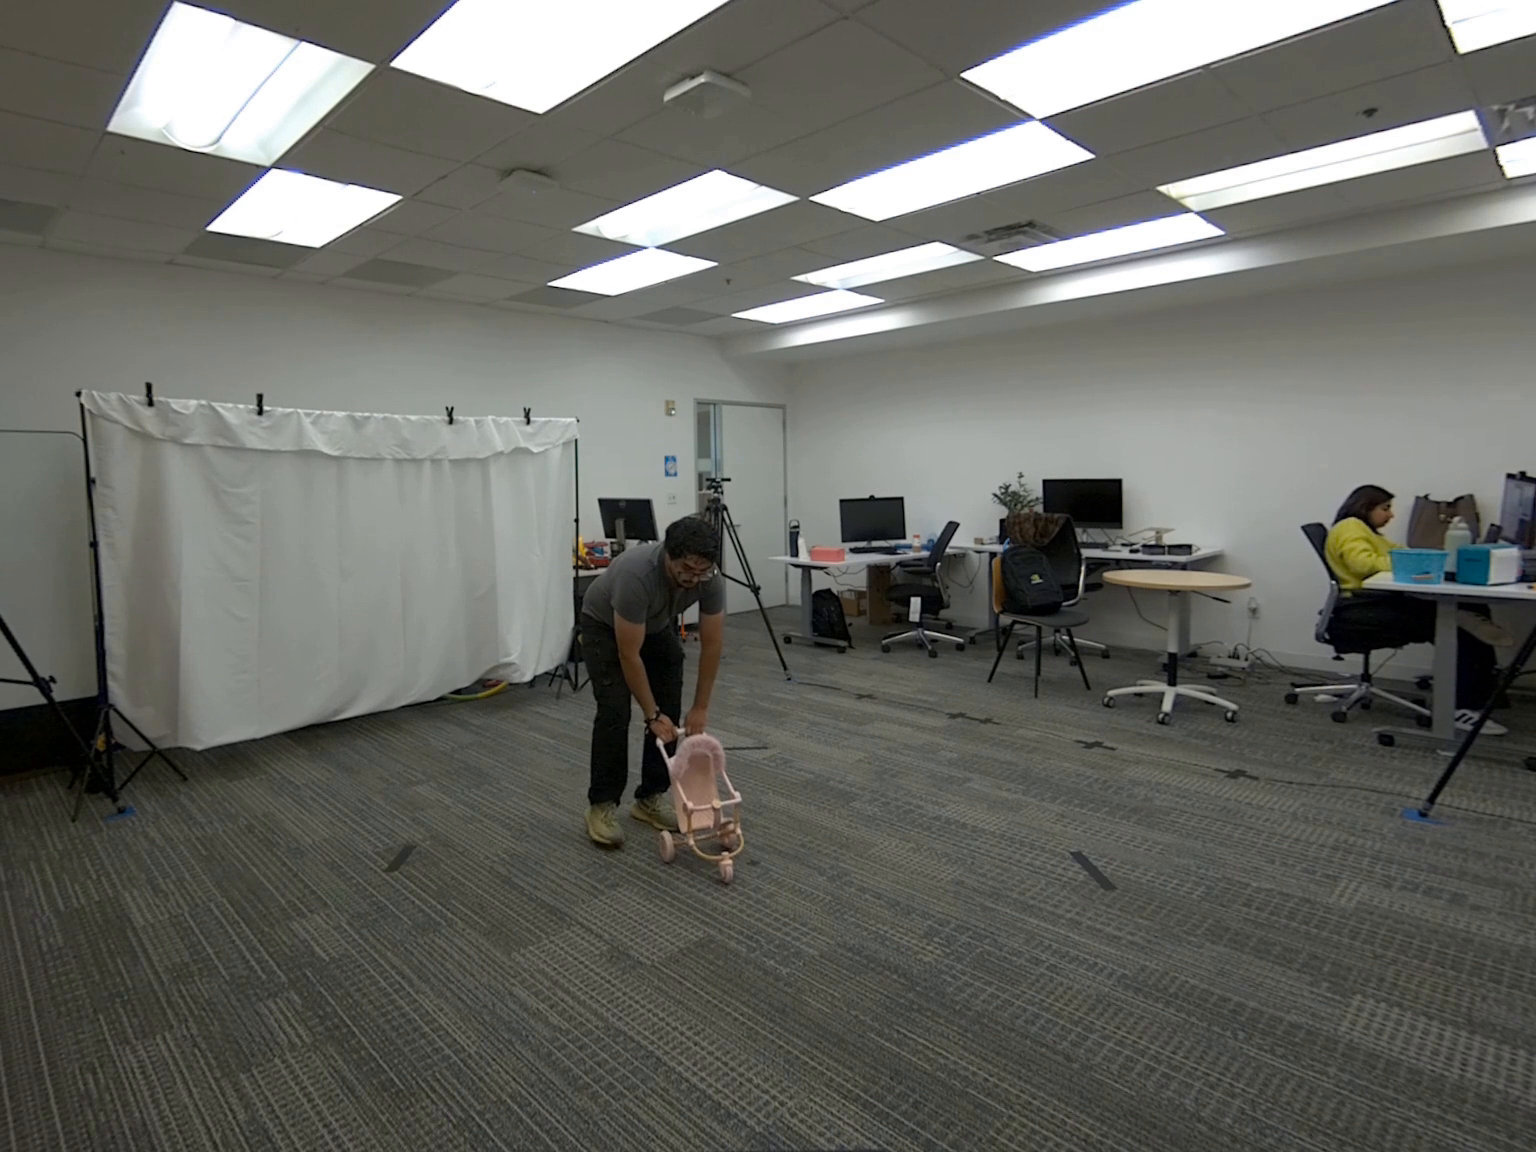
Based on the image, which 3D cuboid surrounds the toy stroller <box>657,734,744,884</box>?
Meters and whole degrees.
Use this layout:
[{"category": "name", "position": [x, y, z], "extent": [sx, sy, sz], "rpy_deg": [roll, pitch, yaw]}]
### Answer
[{"category": "toy stroller", "position": [-0.235, 0.819, 3.116], "extent": [0.276, 0.541, 0.344], "rpy_deg": [-2, -12, -23]}]
